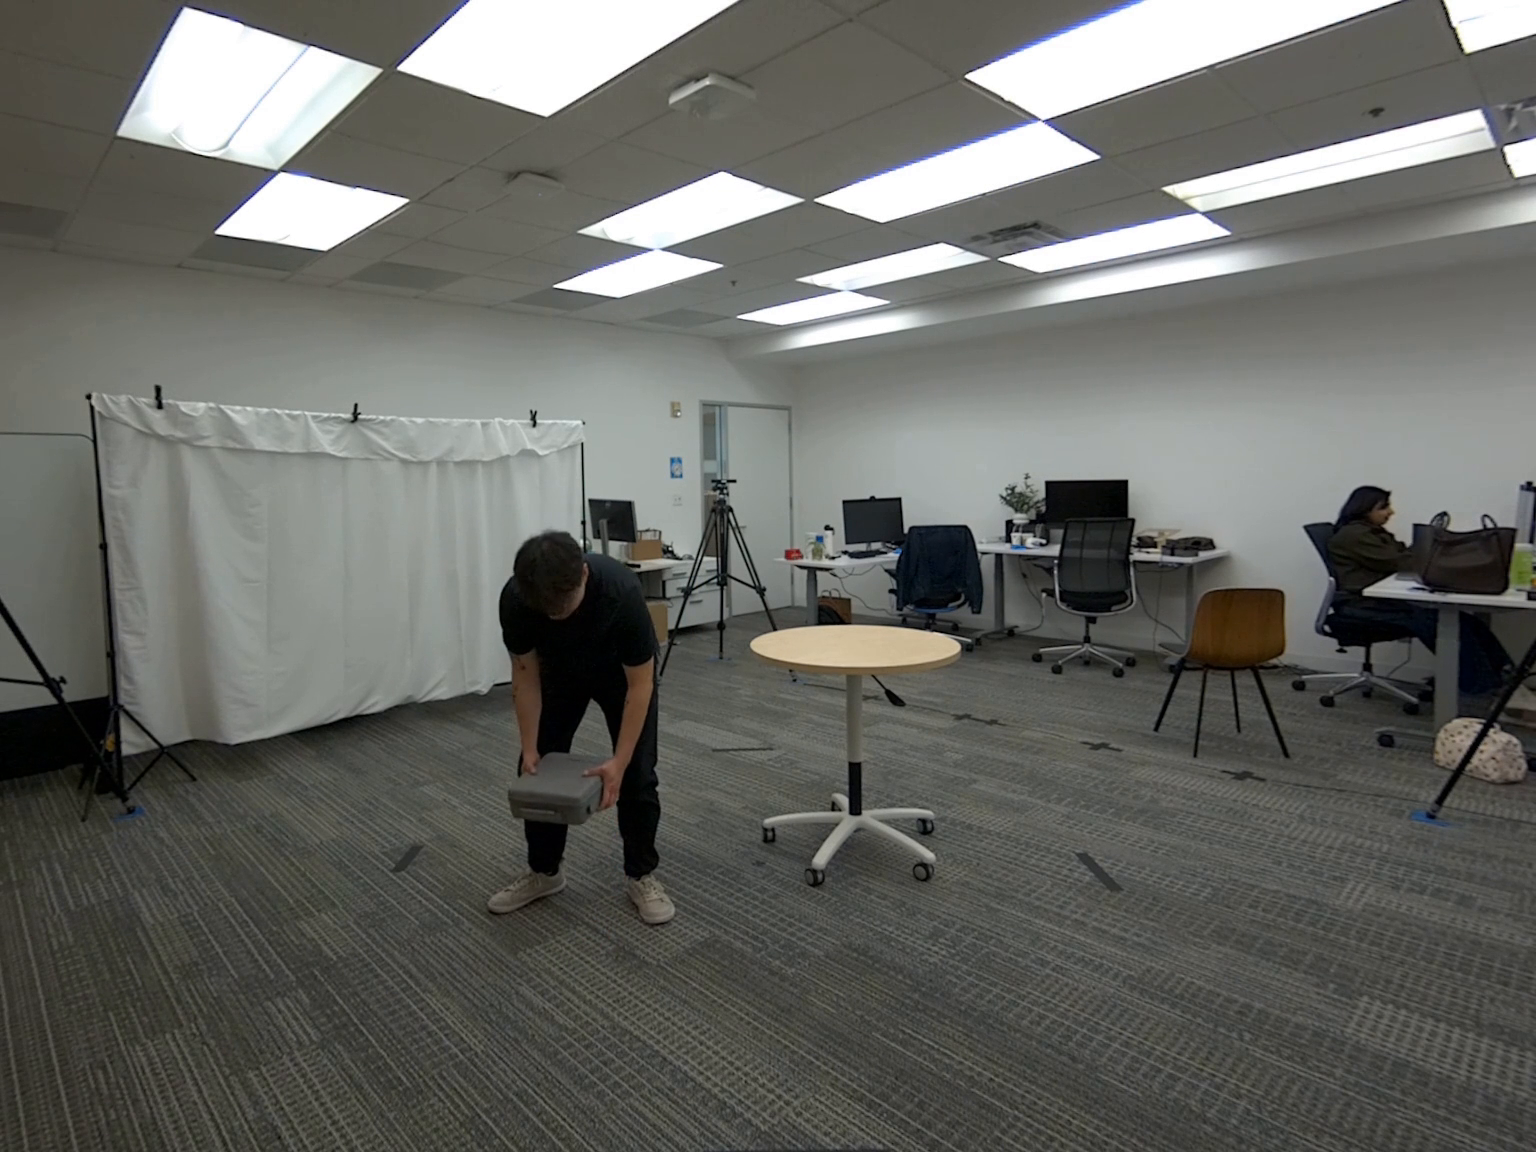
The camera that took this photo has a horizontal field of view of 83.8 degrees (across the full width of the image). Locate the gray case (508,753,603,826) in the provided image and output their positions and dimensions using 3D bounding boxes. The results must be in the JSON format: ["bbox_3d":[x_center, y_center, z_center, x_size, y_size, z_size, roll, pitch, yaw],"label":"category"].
[{"bbox_3d":[-0.617,0.635,2.553,0.262,0.103,0.259,2,15,21],"label":"gray case"}]
